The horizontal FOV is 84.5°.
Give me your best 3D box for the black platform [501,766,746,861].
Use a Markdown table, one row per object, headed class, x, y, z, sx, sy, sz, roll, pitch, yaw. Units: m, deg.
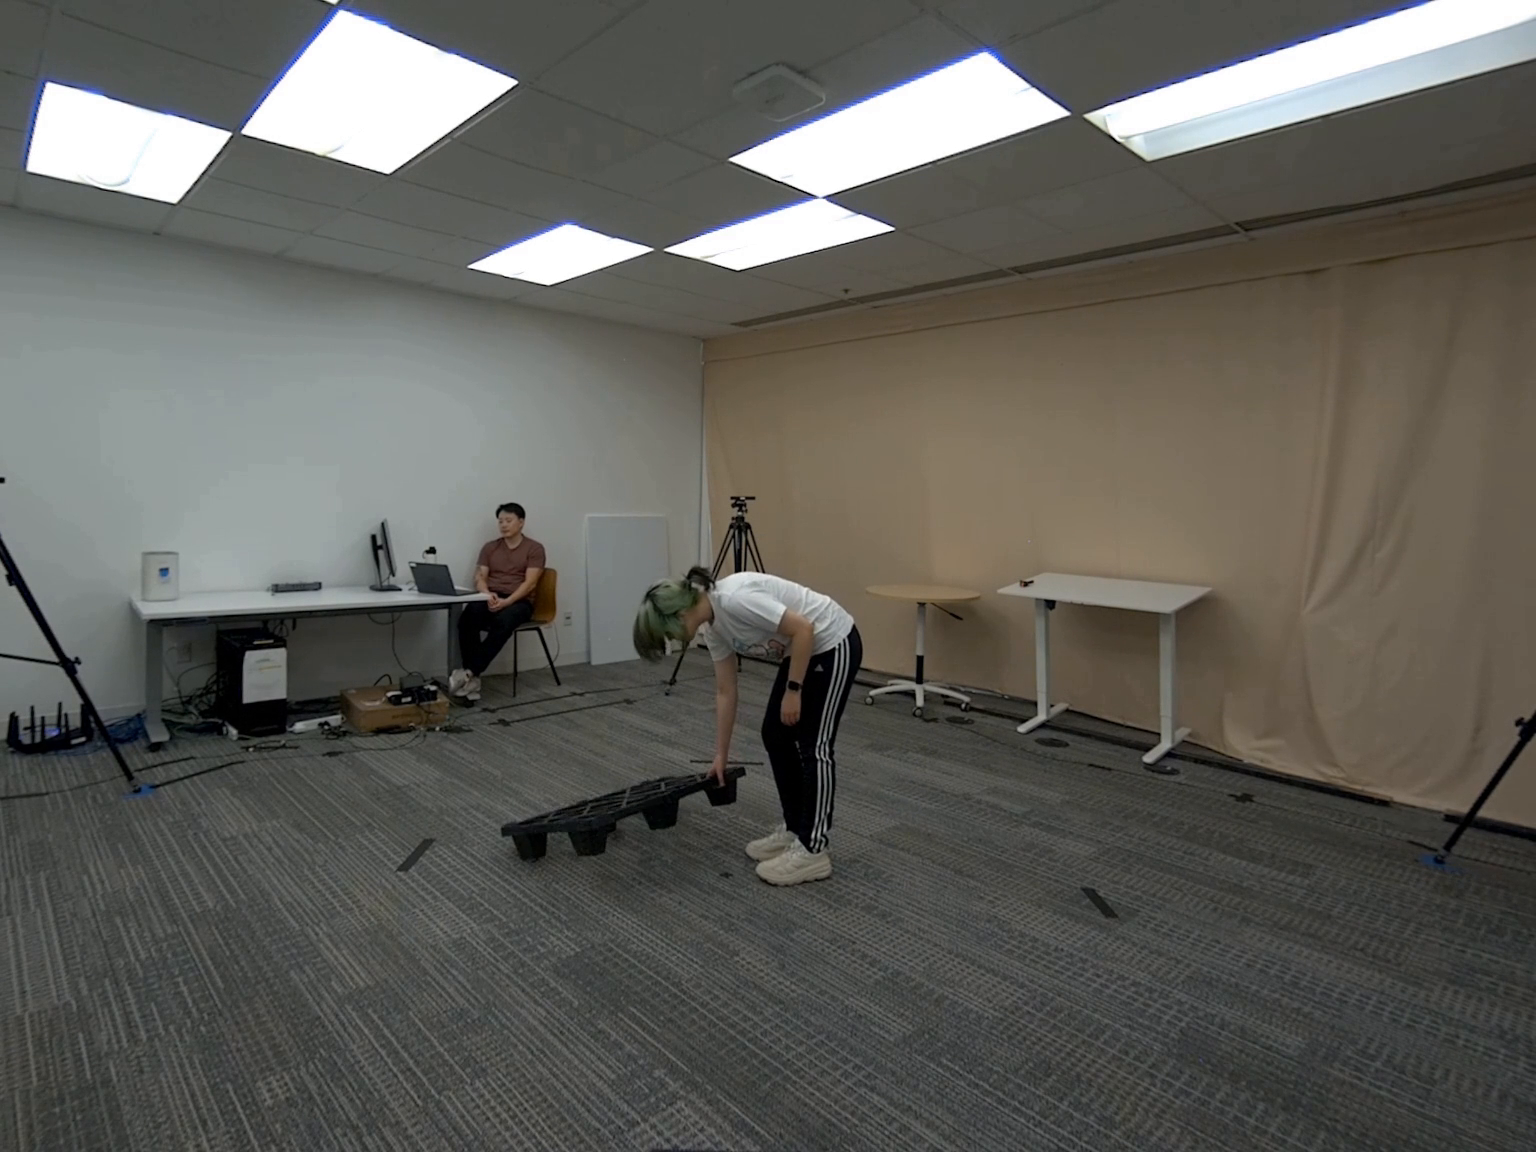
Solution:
| class | x | y | z | sx | sy | sz | roll | pitch | yaw |
| --- | --- | --- | --- | --- | --- | --- | --- | --- | --- |
| black platform | -0.563 | 0.942 | 3.325 | 0.613 | 0.144 | 0.788 | -20 | -10 | 40 |
